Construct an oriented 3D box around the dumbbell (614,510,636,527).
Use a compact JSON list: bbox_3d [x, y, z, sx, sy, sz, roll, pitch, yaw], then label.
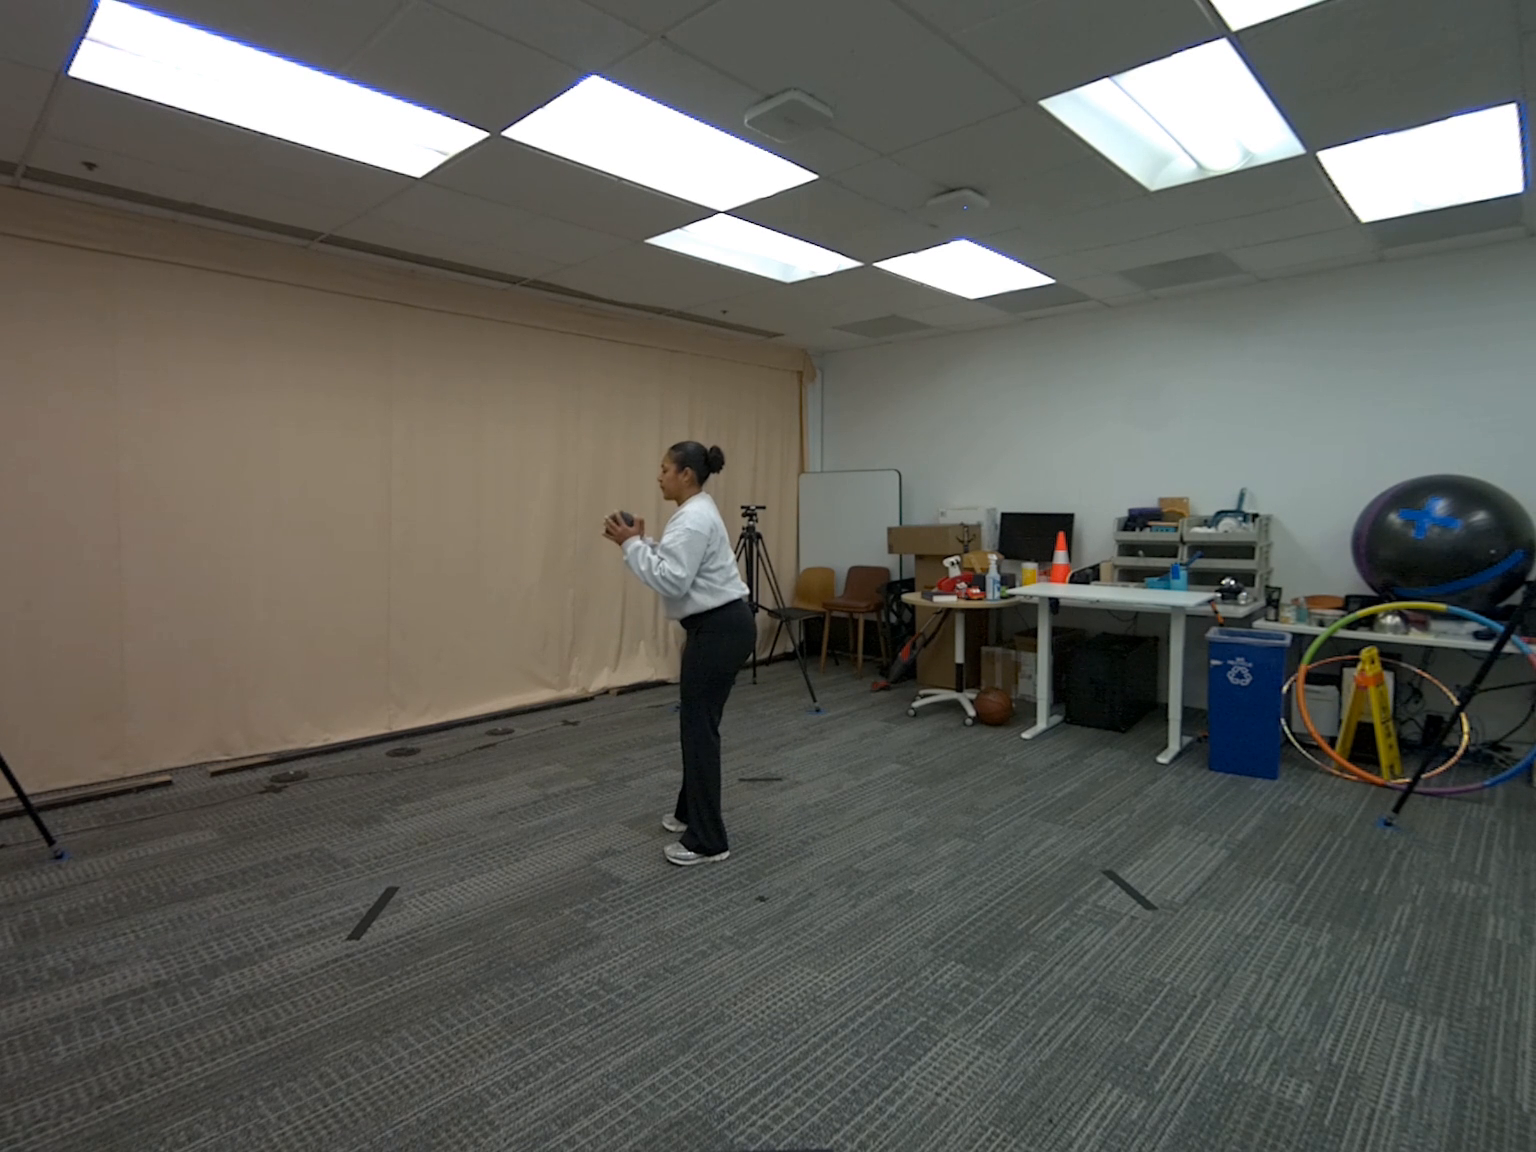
[{"bbox_3d":[-0.567,-0.177,3.400,0.108,0.123,0.294,5,1,-3],"label":"dumbbell"}]
